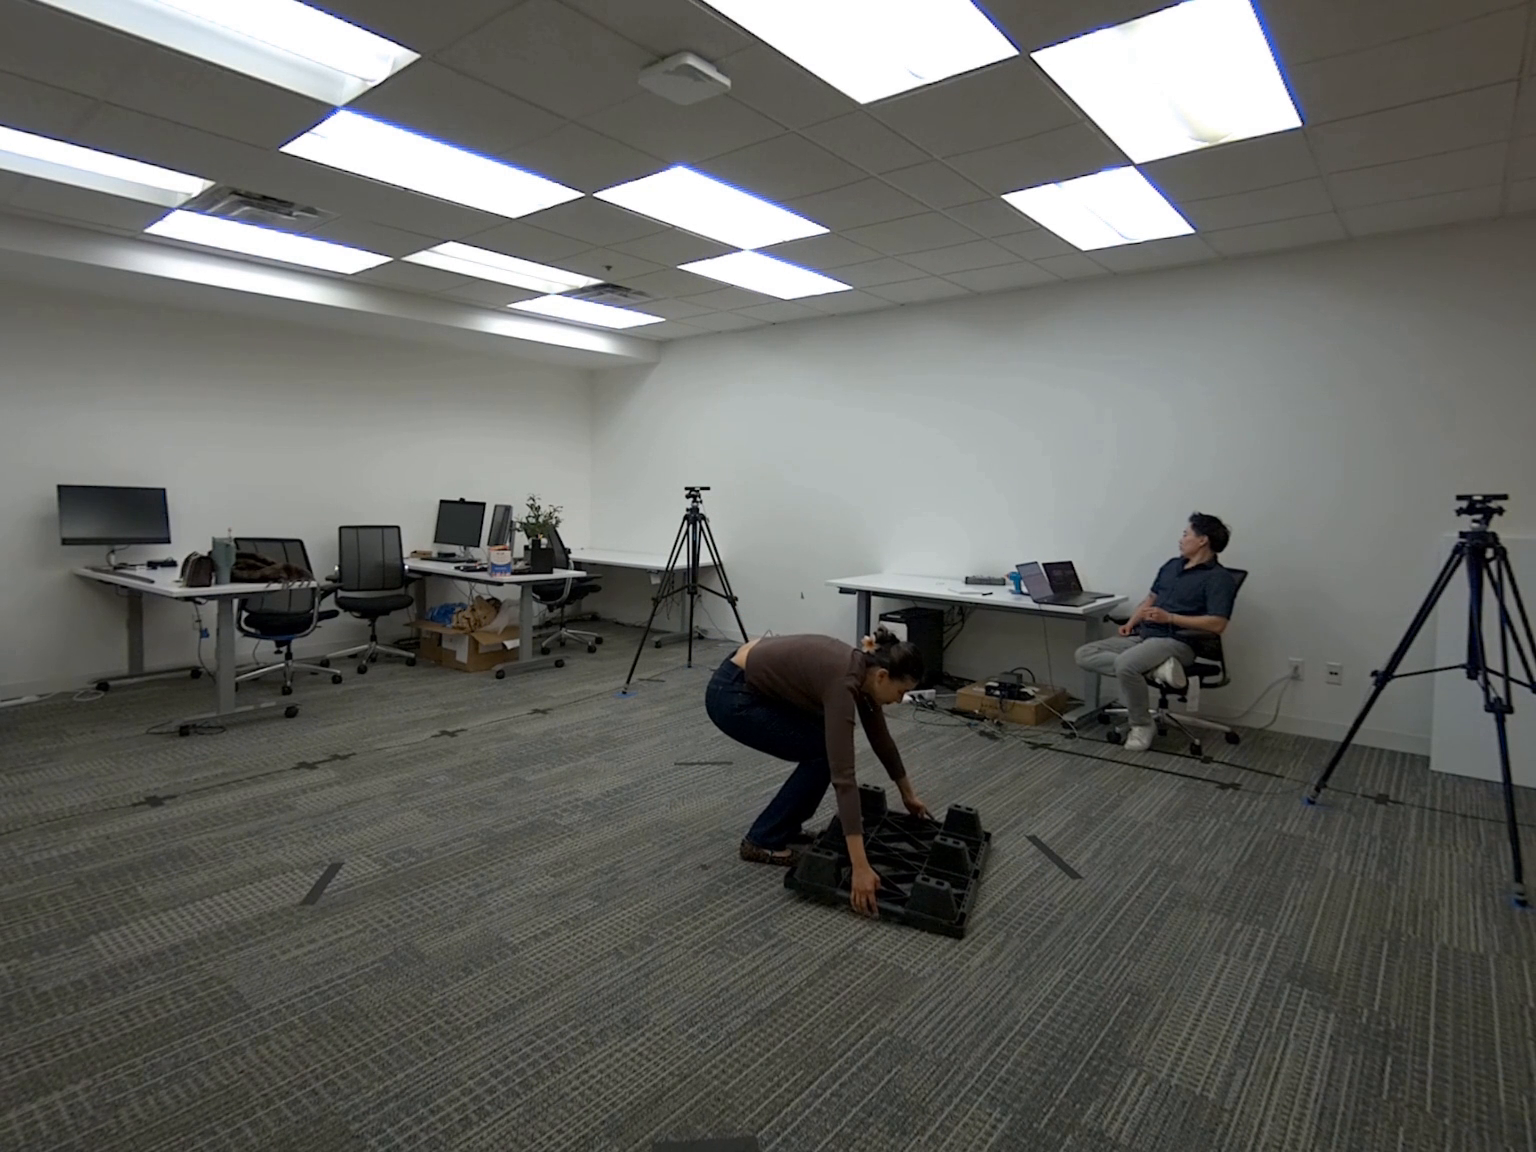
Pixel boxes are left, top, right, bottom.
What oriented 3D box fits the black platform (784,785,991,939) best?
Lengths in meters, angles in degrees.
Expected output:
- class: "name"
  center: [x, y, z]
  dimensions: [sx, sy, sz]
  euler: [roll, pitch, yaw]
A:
- class: "black platform"
  center: [0.469, 0.991, 3.113]
  dimensions: [0.620, 0.142, 0.791]
  euler: [5, 8, 21]
